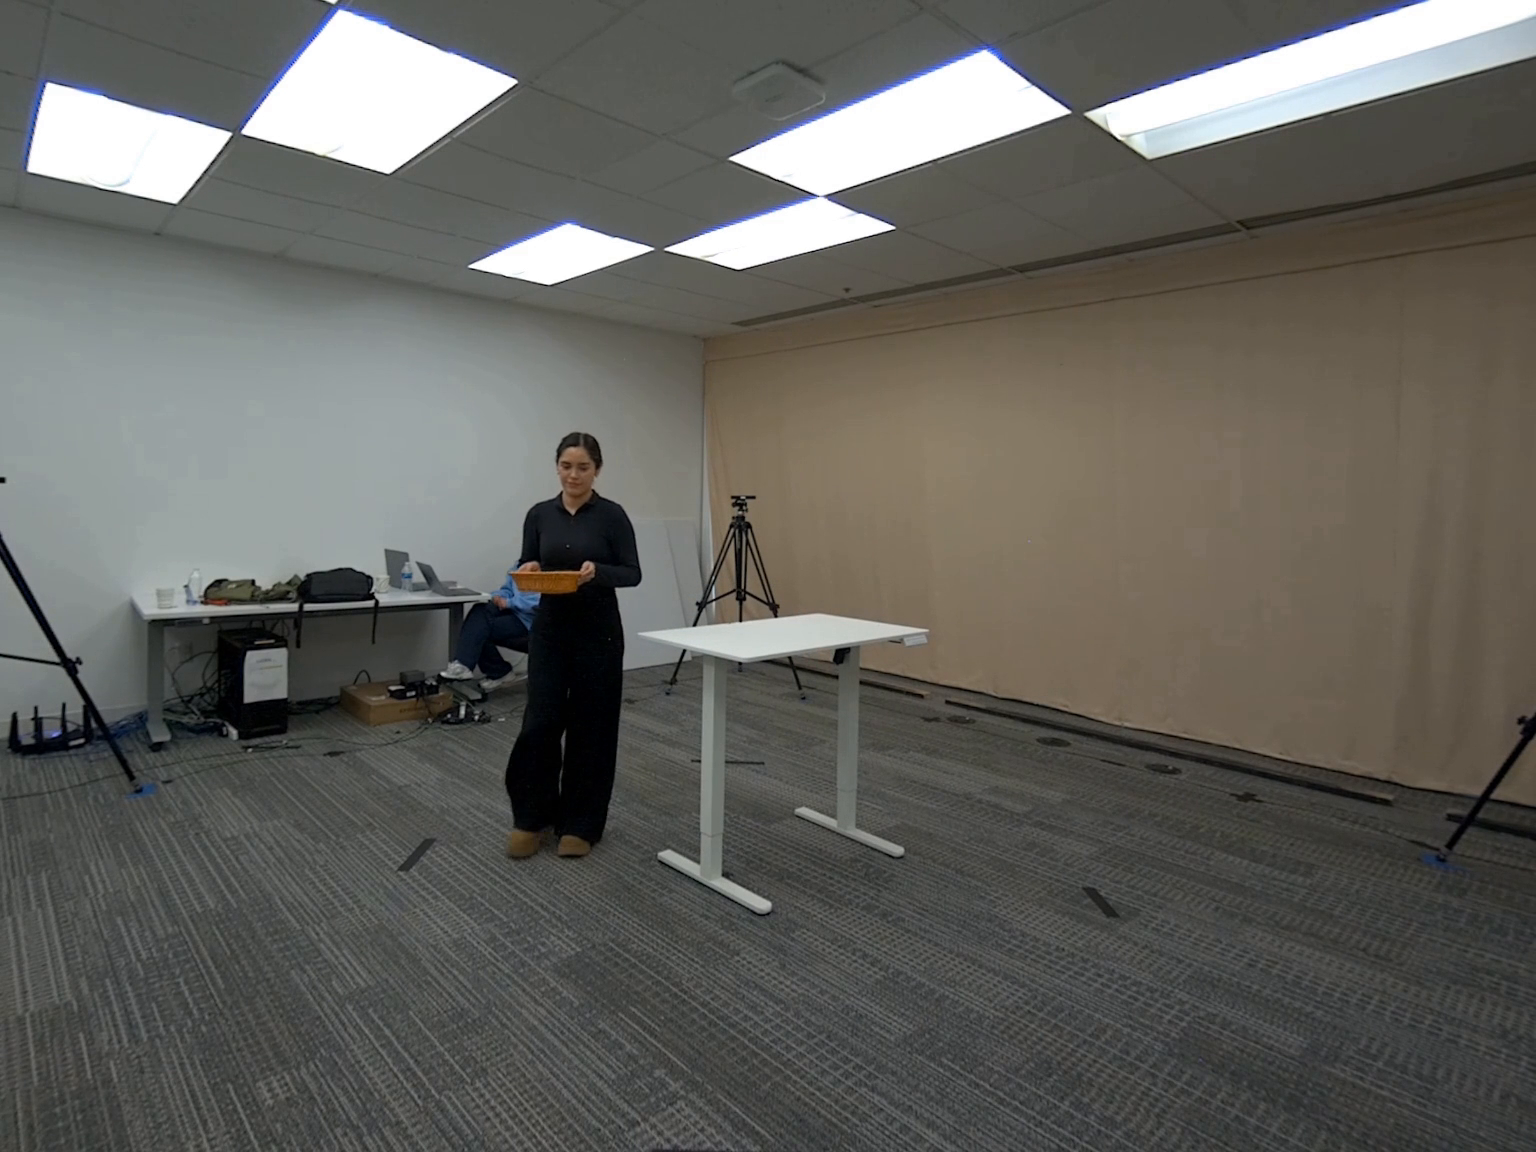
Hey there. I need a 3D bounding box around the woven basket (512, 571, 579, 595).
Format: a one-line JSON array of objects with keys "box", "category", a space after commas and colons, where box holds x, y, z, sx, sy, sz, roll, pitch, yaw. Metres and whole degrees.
[{"box": [-0.837, 0.024, 3.012, 0.250, 0.073, 0.355, -1, 4, -14], "category": "woven basket"}]
